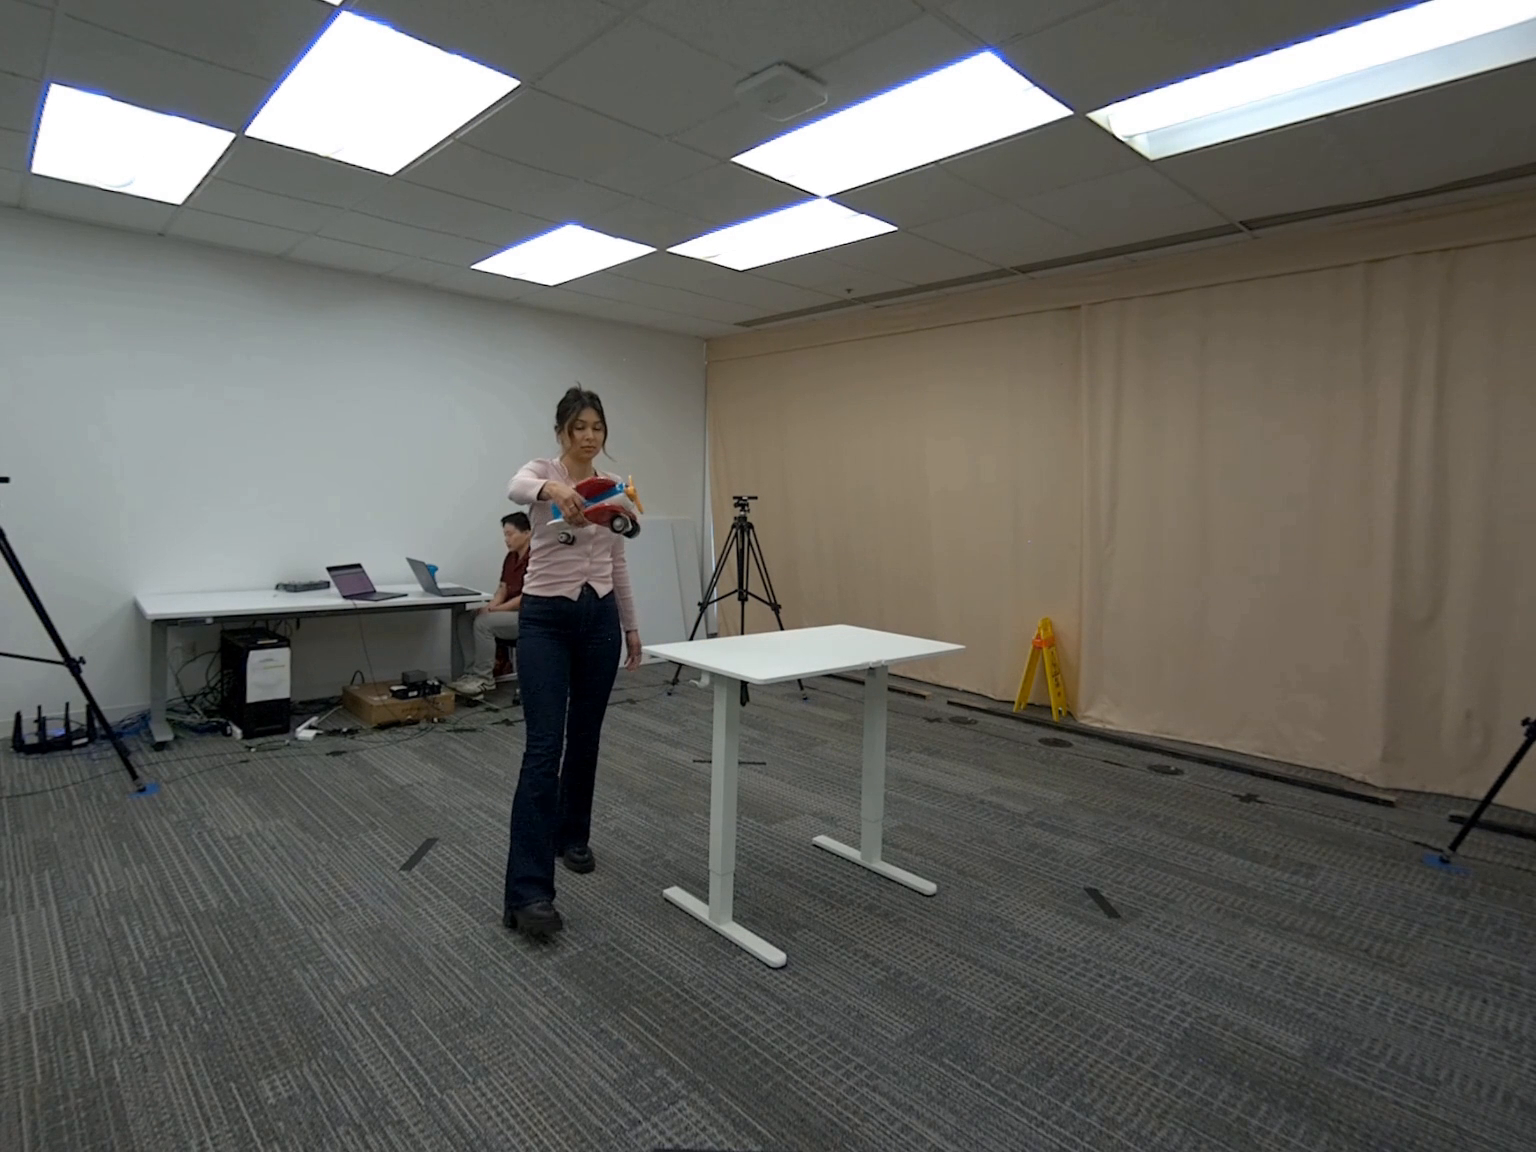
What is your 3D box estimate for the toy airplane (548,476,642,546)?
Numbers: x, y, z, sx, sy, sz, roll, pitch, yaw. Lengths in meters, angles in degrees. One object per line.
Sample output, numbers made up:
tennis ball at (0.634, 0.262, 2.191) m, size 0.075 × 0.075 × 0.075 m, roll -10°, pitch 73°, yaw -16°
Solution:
toy airplane at (-0.503, -0.181, 2.339) m, size 0.257 × 0.157 × 0.252 m, roll -2°, pitch -8°, yaw -13°
